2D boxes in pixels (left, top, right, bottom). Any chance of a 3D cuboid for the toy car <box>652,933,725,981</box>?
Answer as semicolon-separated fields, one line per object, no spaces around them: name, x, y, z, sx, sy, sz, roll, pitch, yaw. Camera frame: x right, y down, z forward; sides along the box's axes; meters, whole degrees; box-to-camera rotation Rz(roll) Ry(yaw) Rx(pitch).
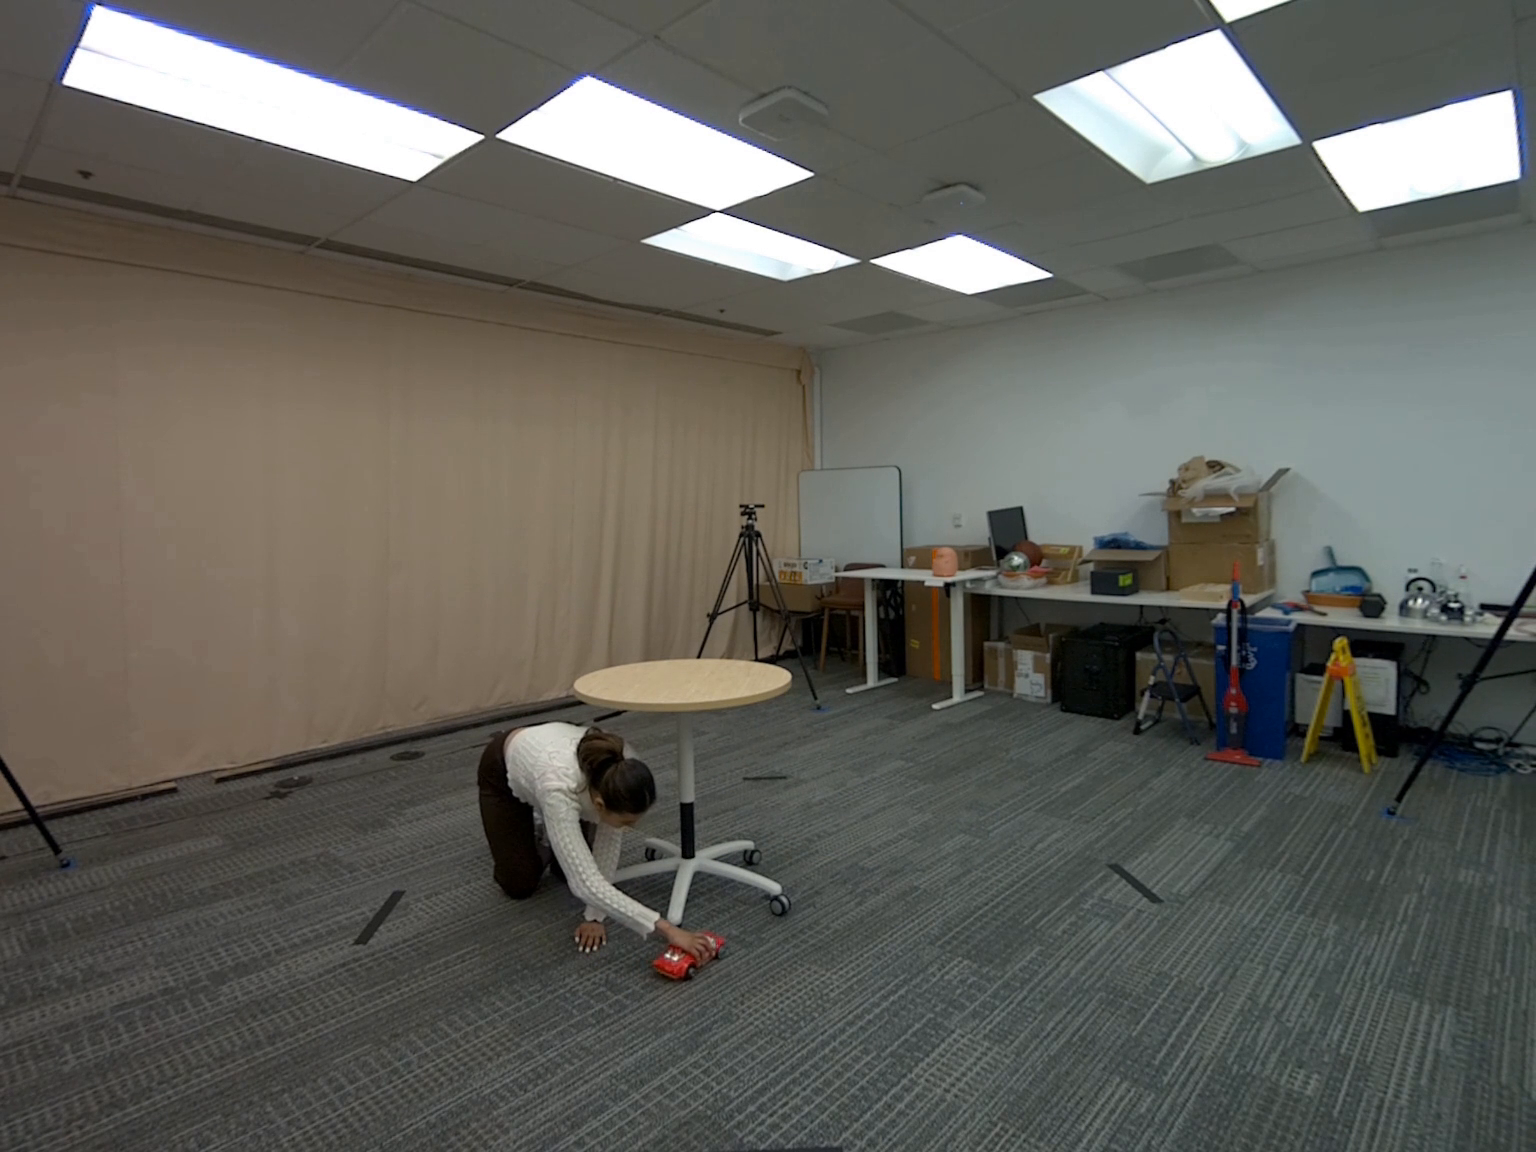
toy car;-0.242;1.146;2.557;0.134;0.083;0.246;2;-5;40
